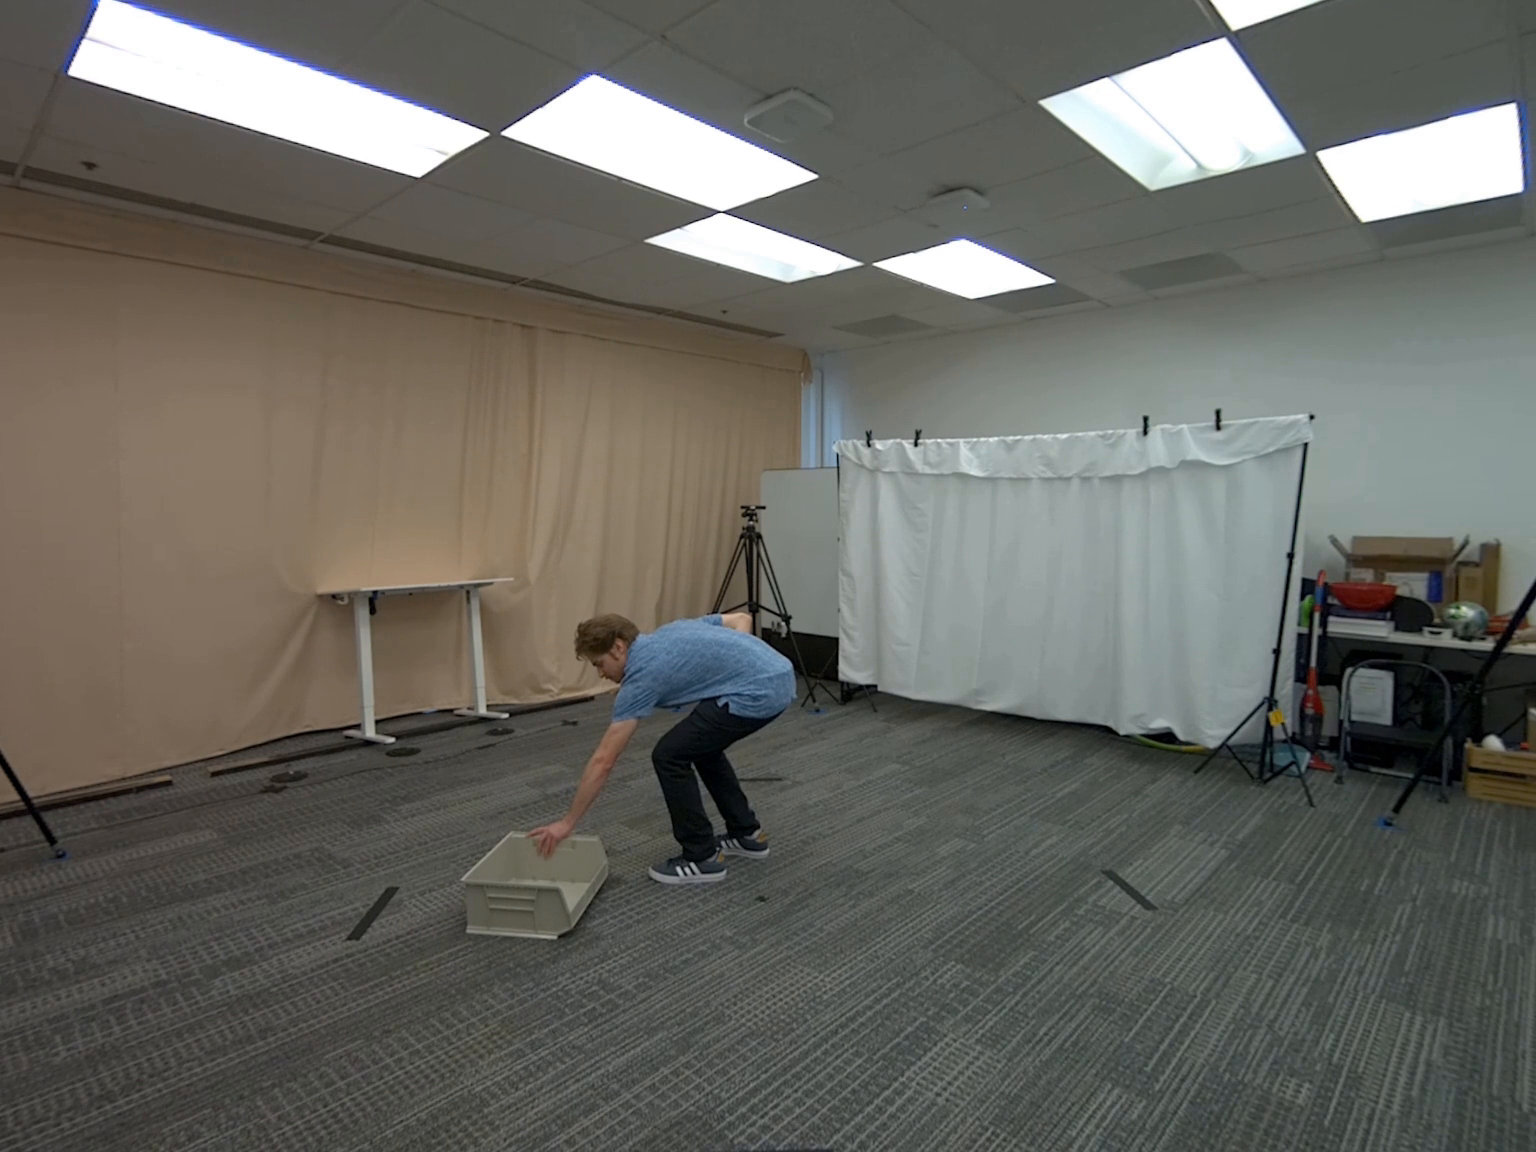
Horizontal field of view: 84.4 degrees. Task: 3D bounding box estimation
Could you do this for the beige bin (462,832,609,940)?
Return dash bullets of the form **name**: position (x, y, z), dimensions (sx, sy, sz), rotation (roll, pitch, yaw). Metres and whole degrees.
- **beige bin**: position (-0.800, 1.067, 2.928), dimensions (0.381, 0.188, 0.420), rotation (0, 5, 7)
